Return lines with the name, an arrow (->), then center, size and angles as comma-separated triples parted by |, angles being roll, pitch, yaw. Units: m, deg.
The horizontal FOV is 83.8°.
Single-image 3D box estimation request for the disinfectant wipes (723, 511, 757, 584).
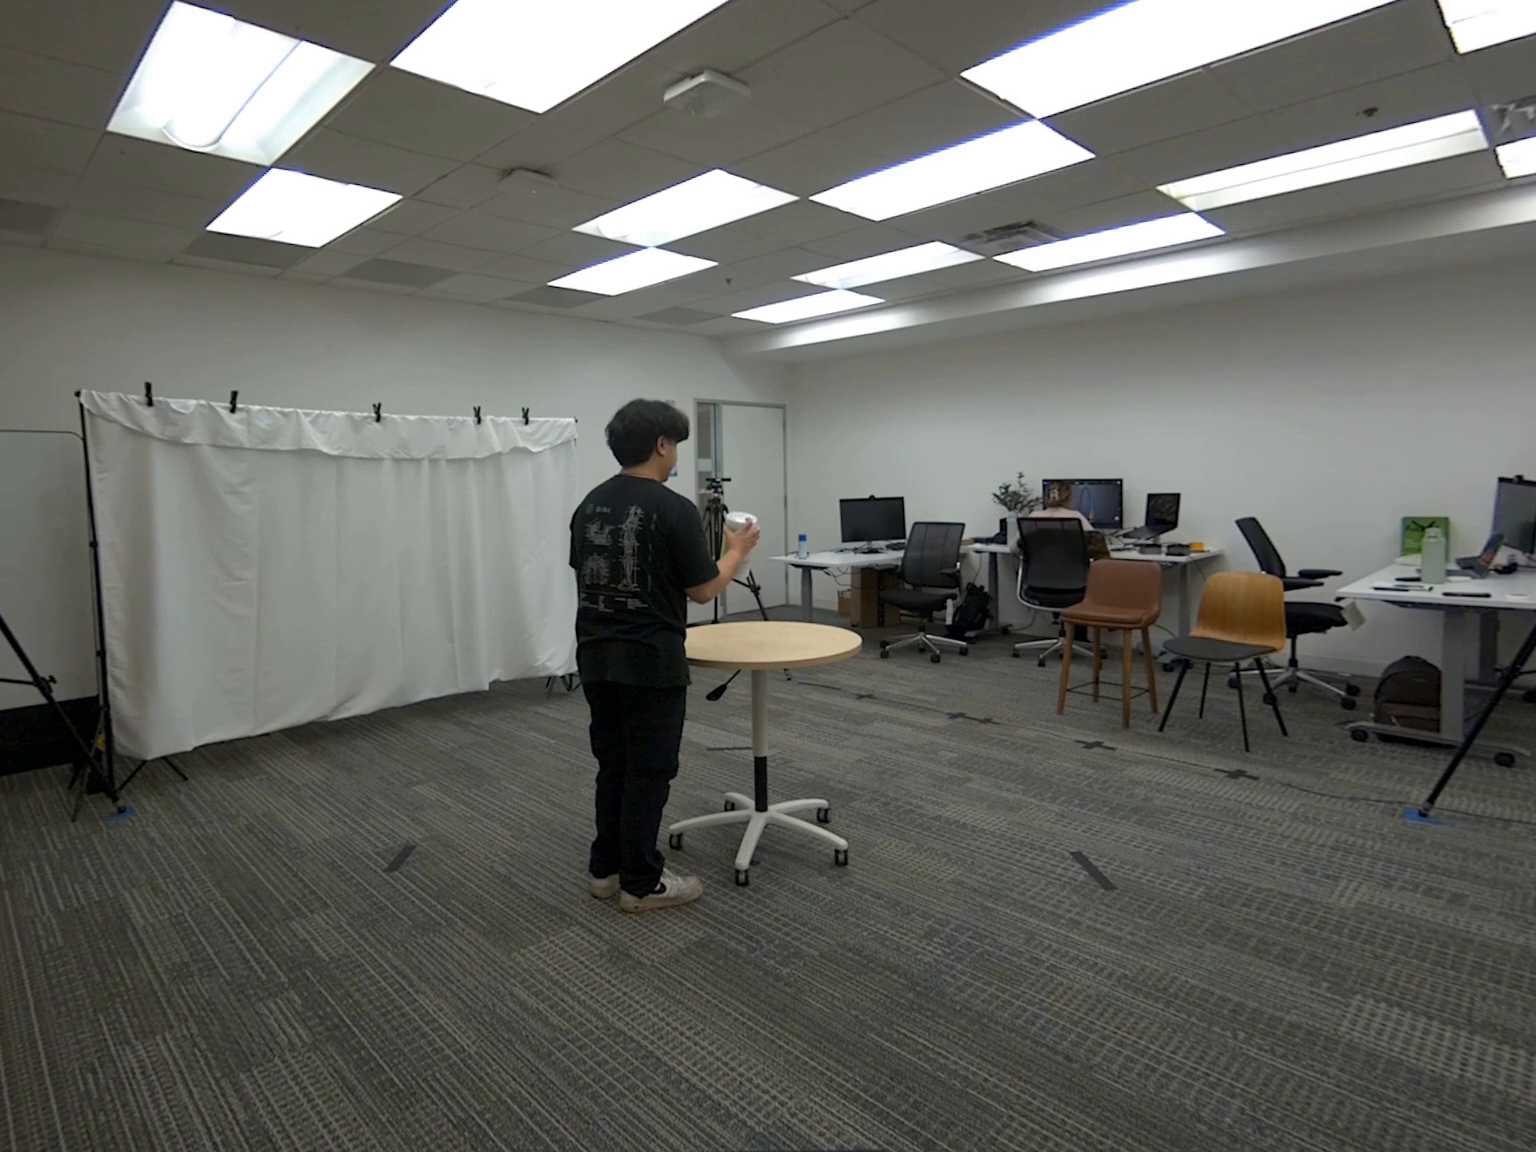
disinfectant wipes -> -0.103, -0.110, 2.991 | 0.117, 0.214, 0.120 | 4, 19, -3
